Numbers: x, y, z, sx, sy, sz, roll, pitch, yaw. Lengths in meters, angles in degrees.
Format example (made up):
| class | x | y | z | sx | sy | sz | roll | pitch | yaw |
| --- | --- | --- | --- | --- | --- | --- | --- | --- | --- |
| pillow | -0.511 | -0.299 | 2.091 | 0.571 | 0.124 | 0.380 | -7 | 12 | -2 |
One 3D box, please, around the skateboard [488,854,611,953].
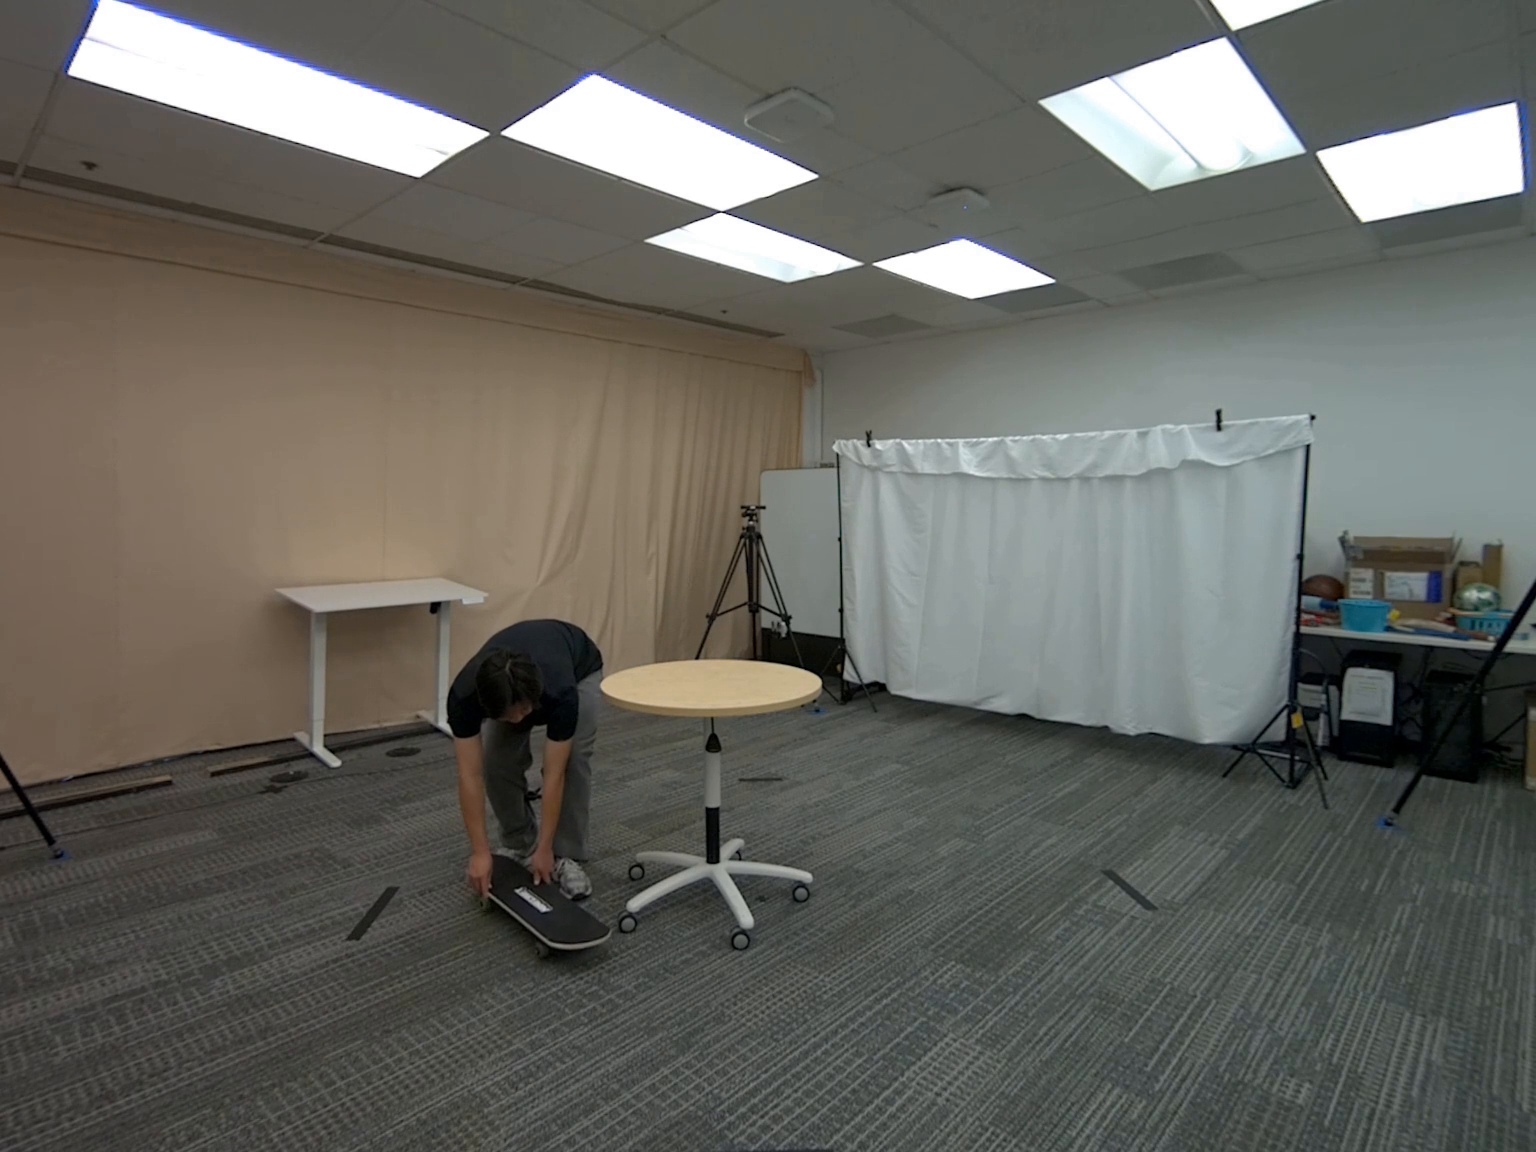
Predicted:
| class | x | y | z | sx | sy | sz | roll | pitch | yaw |
| --- | --- | --- | --- | --- | --- | --- | --- | --- | --- |
| skateboard | -0.772 | 1.106 | 2.793 | 0.187 | 0.110 | 0.812 | -3 | 6 | -42 |
